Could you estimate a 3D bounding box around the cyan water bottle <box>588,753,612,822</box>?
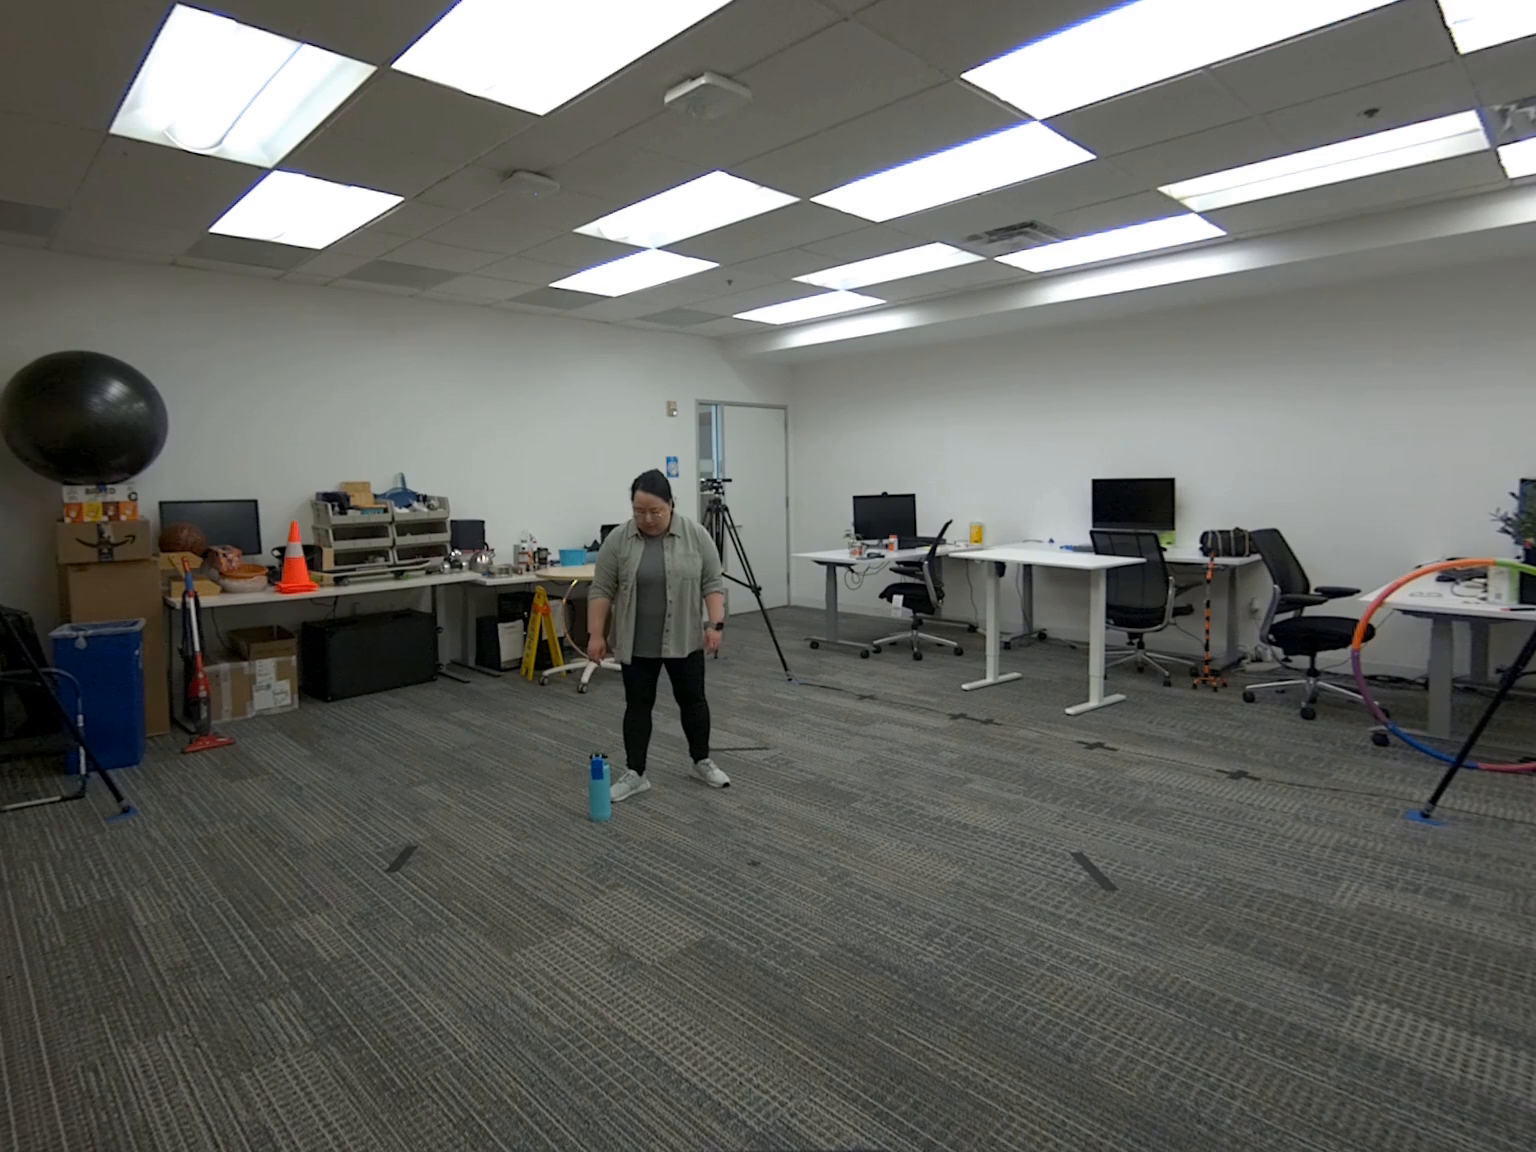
[{"bbox_3d":[-0.704,0.870,3.556,0.092,0.282,0.093,-1,4,-2],"label":"cyan water bottle"}]
